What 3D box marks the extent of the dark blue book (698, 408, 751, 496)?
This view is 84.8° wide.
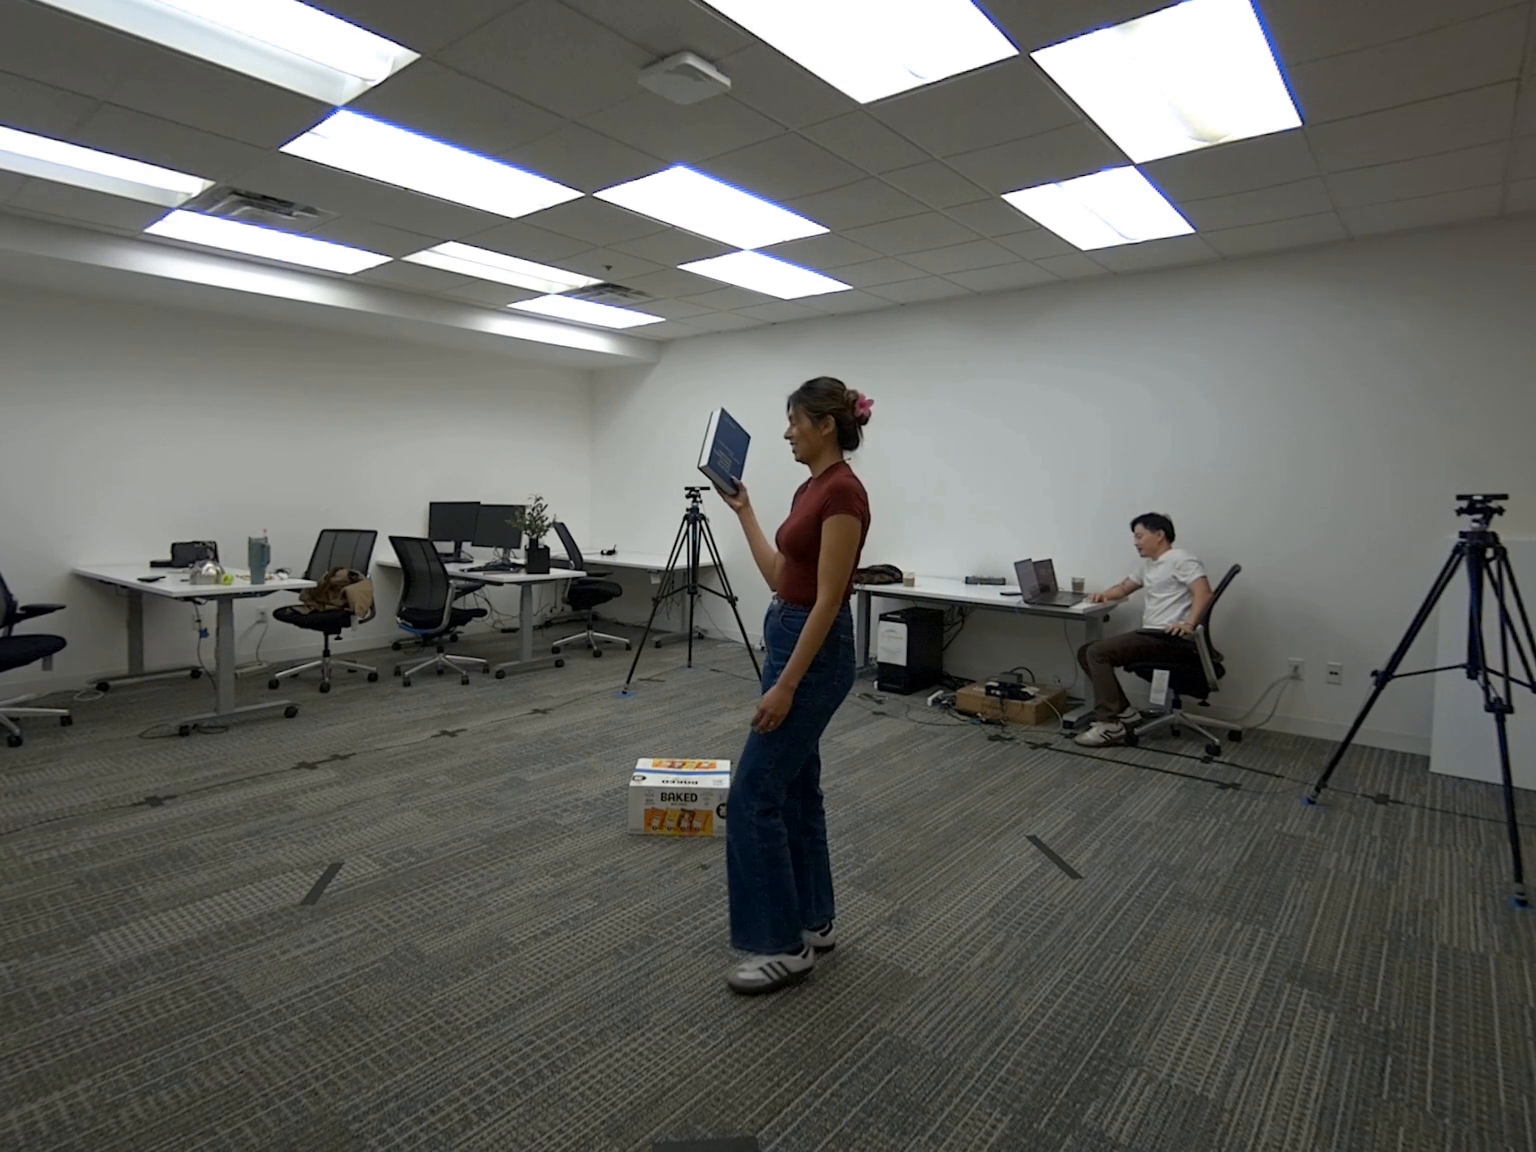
[{"bbox_3d":[-0.144,-0.405,2.746,0.046,0.250,0.157,-19,-43,36],"label":"dark blue book"}]
